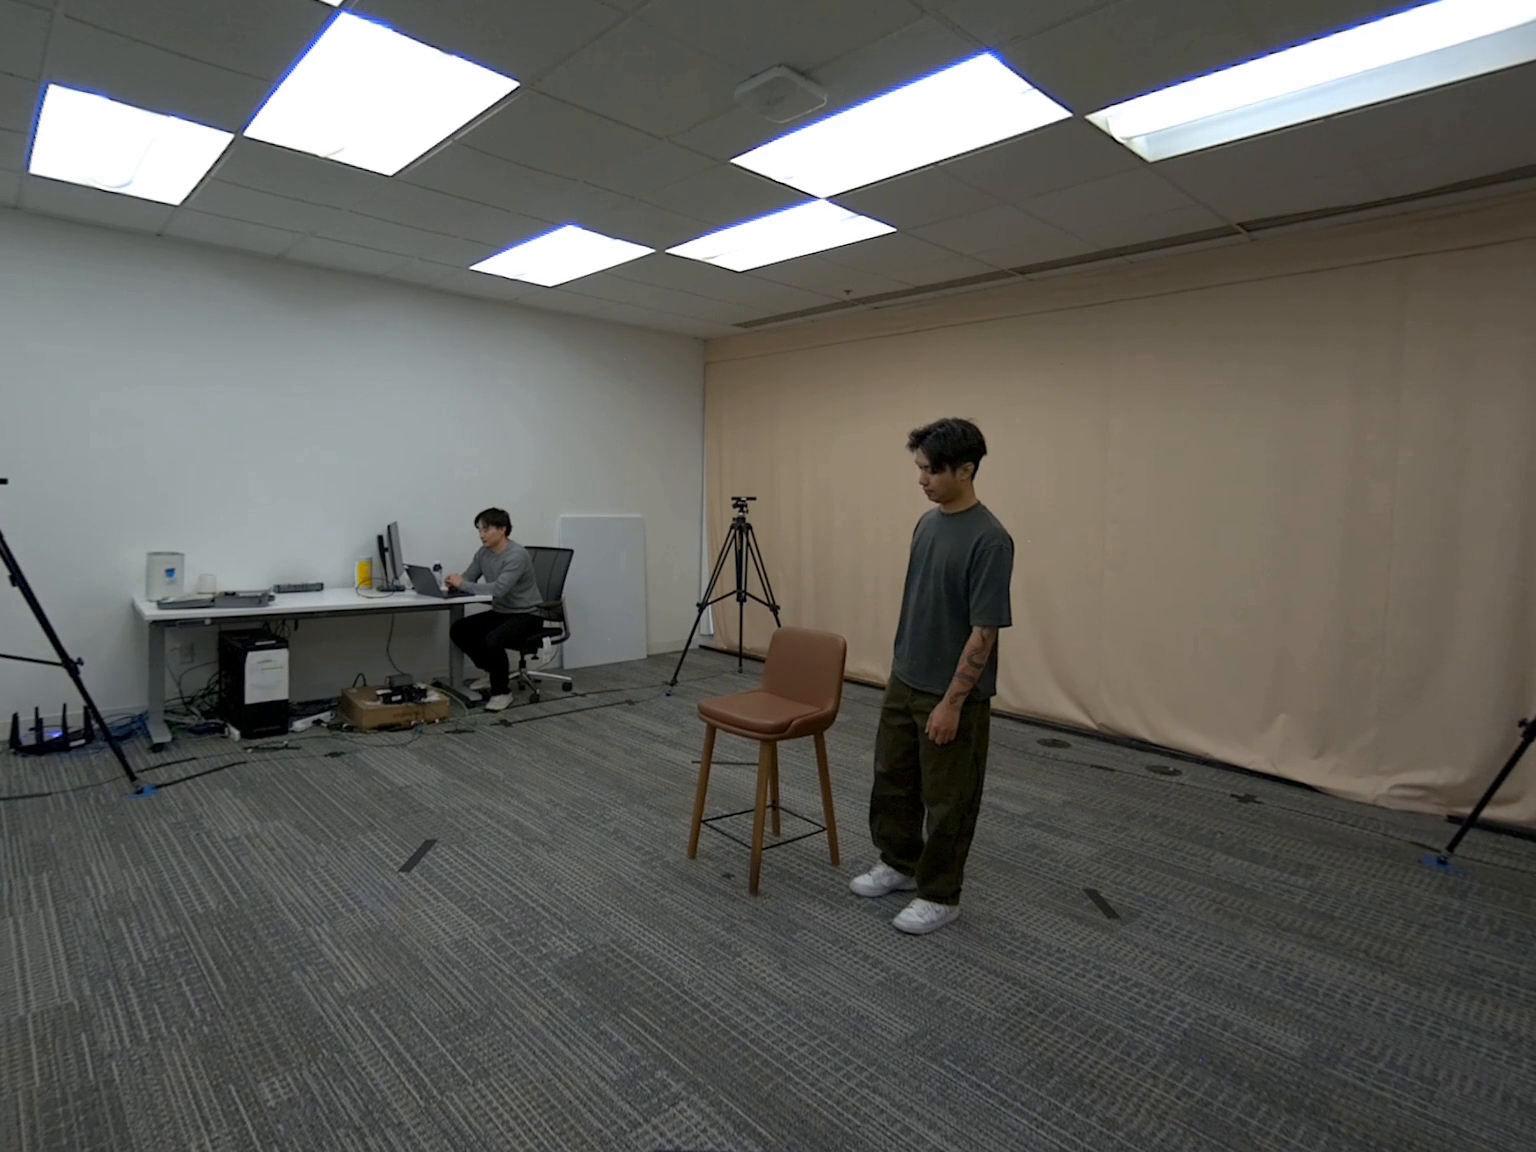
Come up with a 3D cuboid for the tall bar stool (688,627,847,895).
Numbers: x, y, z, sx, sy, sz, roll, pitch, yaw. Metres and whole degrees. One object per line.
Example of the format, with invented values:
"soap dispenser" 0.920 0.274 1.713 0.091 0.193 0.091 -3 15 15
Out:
"tall bar stool" -0.004 0.665 3.222 0.456 0.888 0.468 1 3 -39
